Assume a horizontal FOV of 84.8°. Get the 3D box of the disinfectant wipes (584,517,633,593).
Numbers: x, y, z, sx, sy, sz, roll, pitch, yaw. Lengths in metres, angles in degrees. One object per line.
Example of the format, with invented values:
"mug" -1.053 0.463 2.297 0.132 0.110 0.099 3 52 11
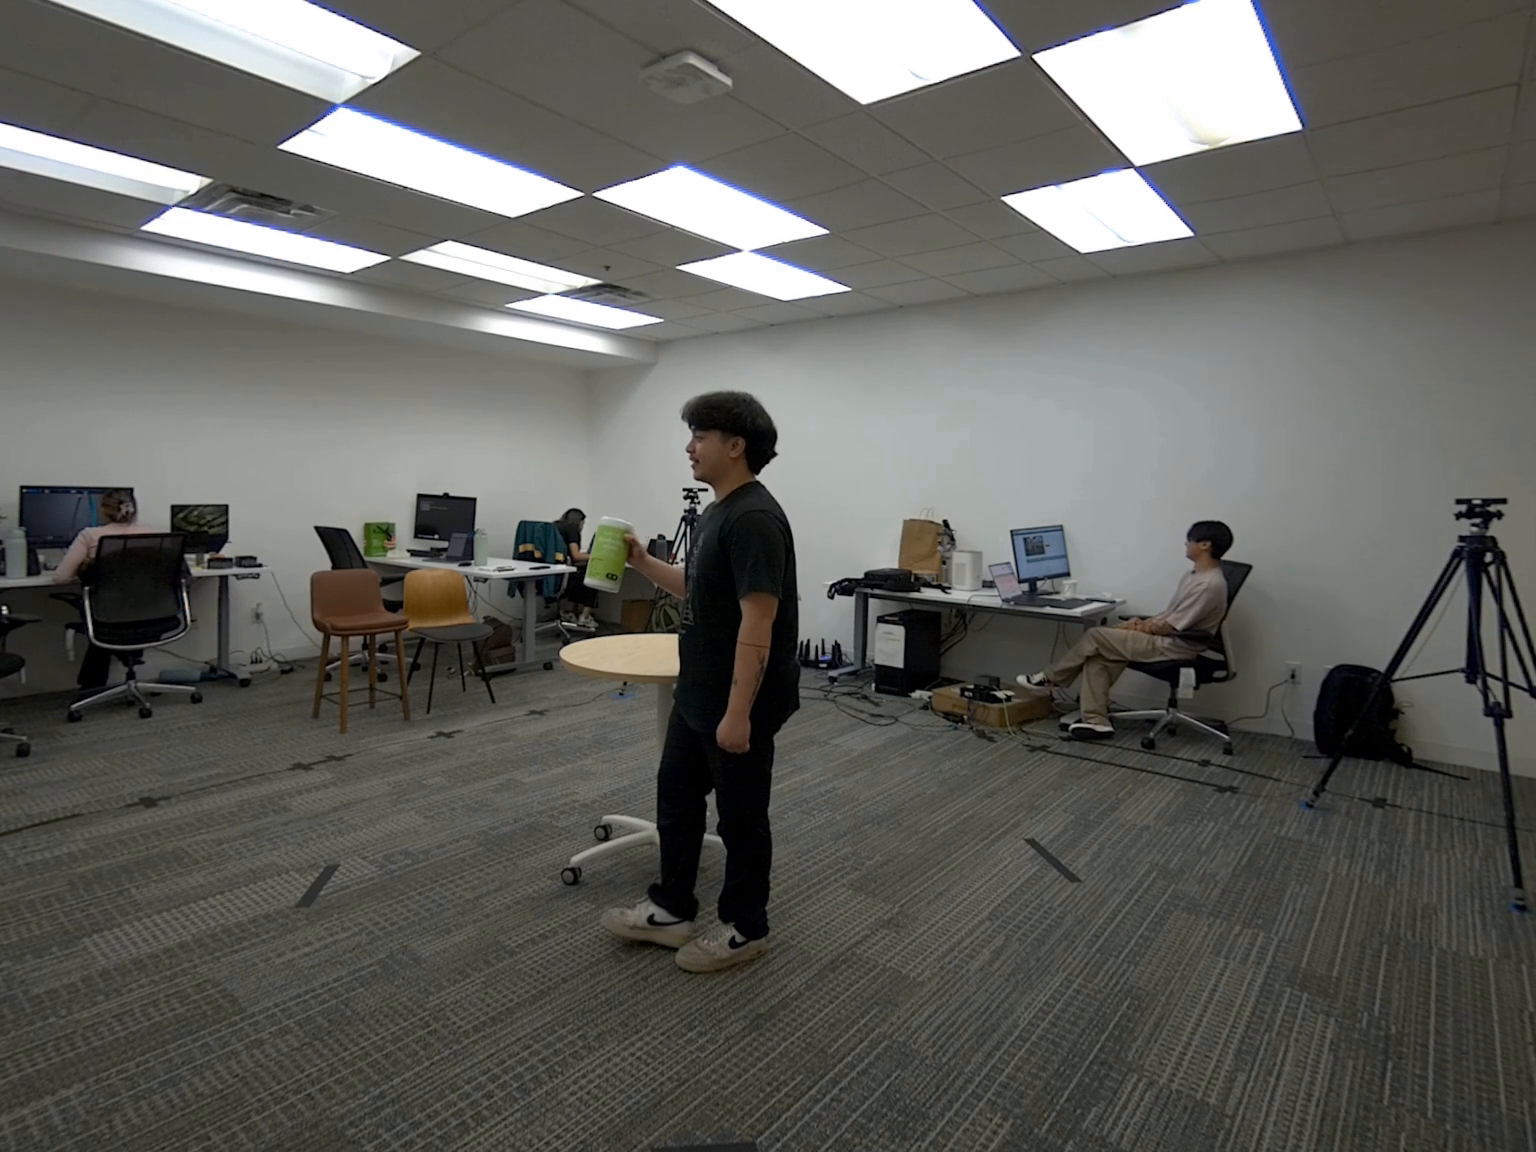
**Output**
"disinfectant wipes" -0.502 -0.065 2.613 0.118 0.219 0.117 12 -9 0
